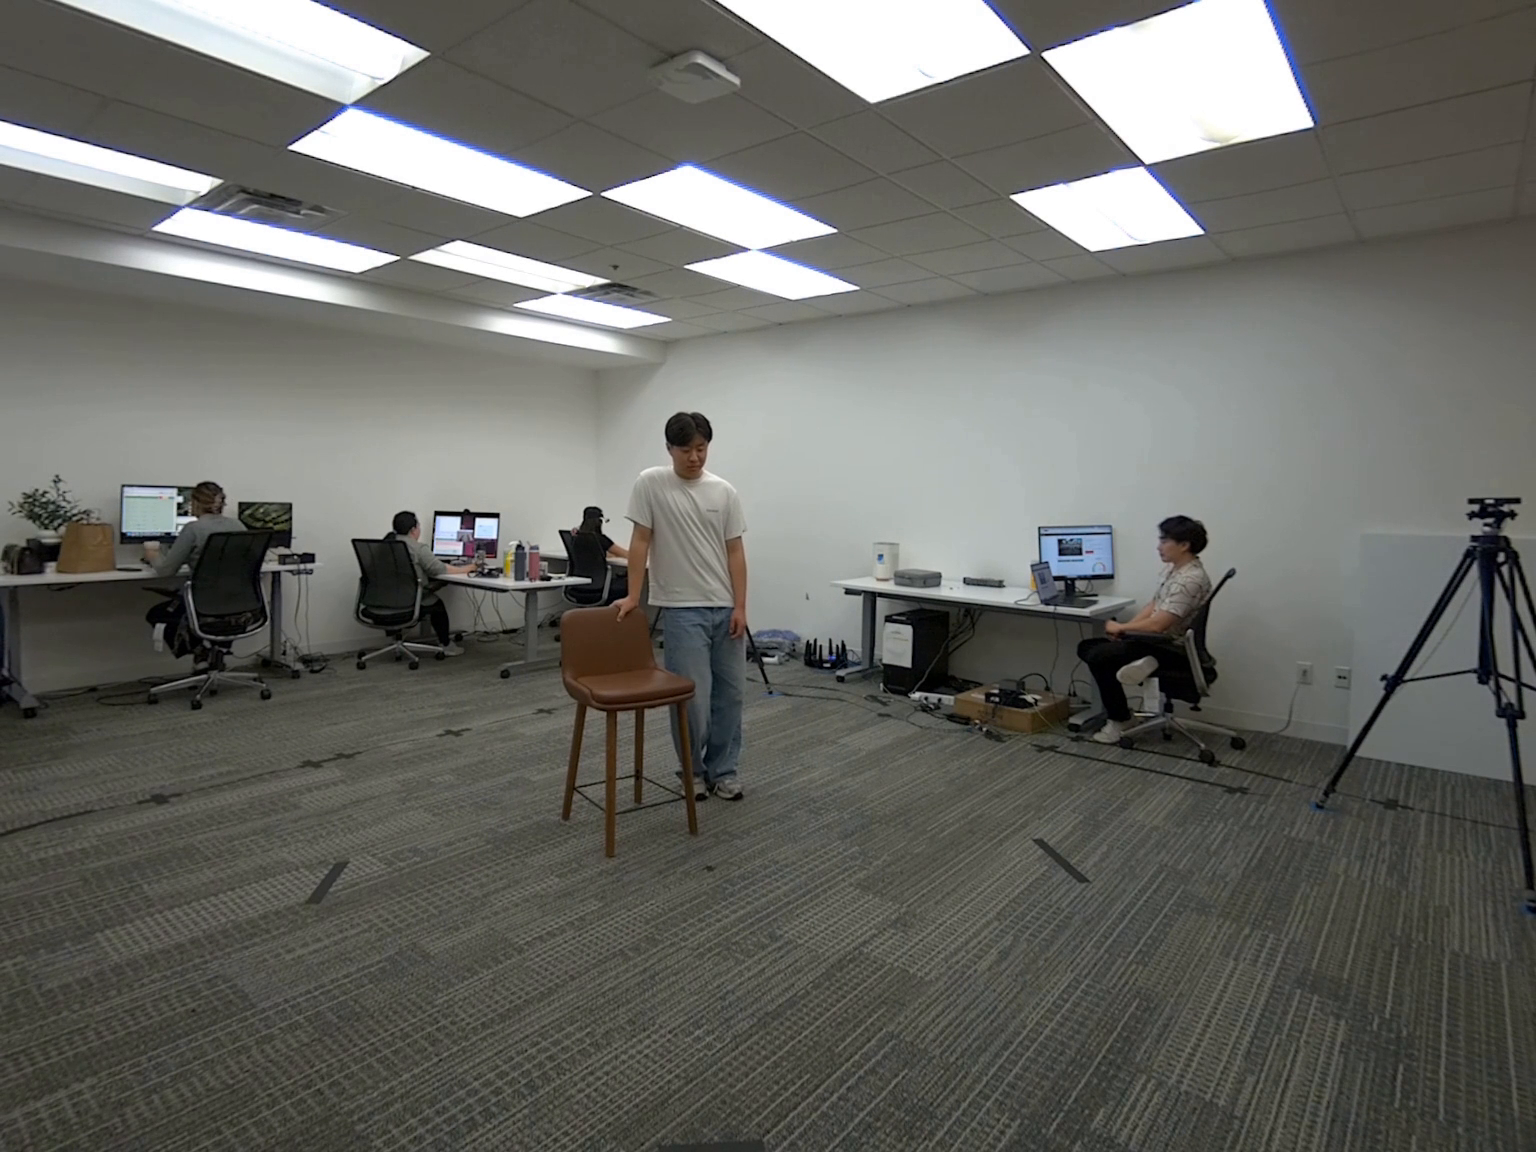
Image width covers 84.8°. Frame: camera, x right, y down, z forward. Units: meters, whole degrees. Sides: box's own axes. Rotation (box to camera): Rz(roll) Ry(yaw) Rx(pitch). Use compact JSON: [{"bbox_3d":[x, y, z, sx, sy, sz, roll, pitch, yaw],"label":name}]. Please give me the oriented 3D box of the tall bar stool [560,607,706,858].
[{"bbox_3d":[-0.595,0.588,3.464,0.443,0.889,0.482,-1,2,-37],"label":"tall bar stool"}]
